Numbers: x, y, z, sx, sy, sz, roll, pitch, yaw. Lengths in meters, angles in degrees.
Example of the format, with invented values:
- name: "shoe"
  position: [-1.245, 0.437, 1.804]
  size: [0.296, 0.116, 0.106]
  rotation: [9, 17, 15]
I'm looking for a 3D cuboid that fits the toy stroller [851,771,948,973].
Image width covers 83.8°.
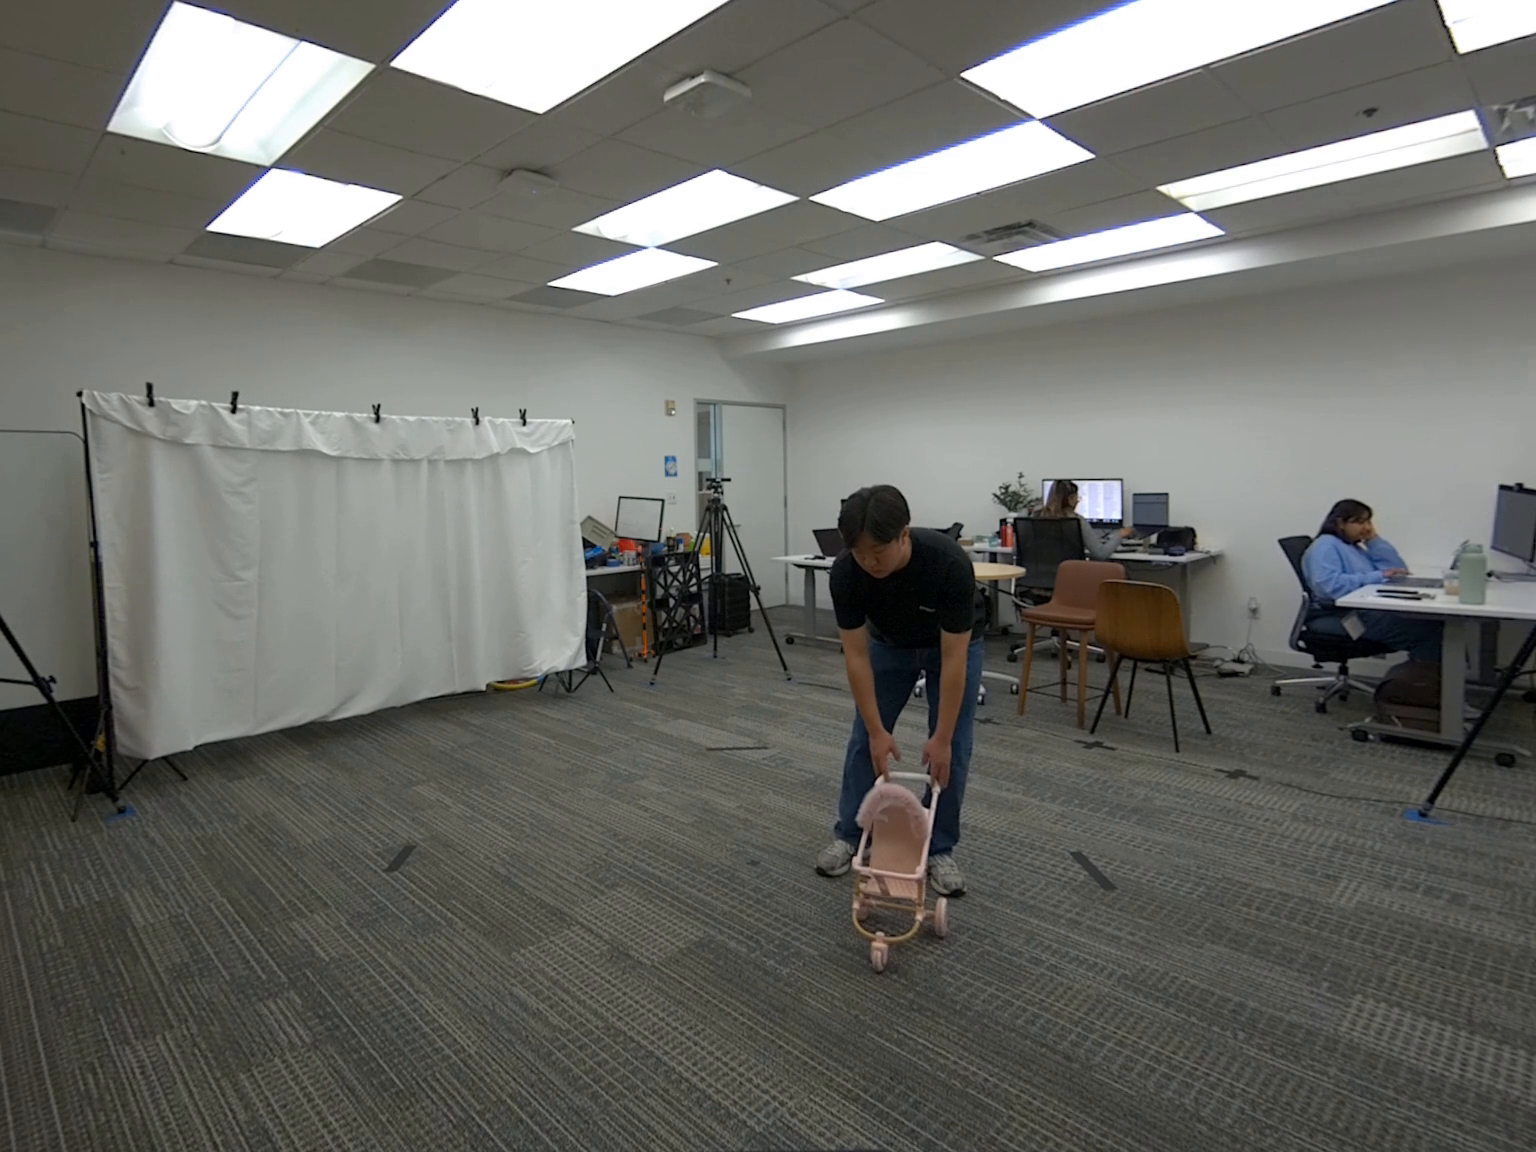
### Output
- name: "toy stroller"
  position: [0.382, 0.876, 2.575]
  size: [0.288, 0.540, 0.330]
  rotation: [-1, -12, 29]
